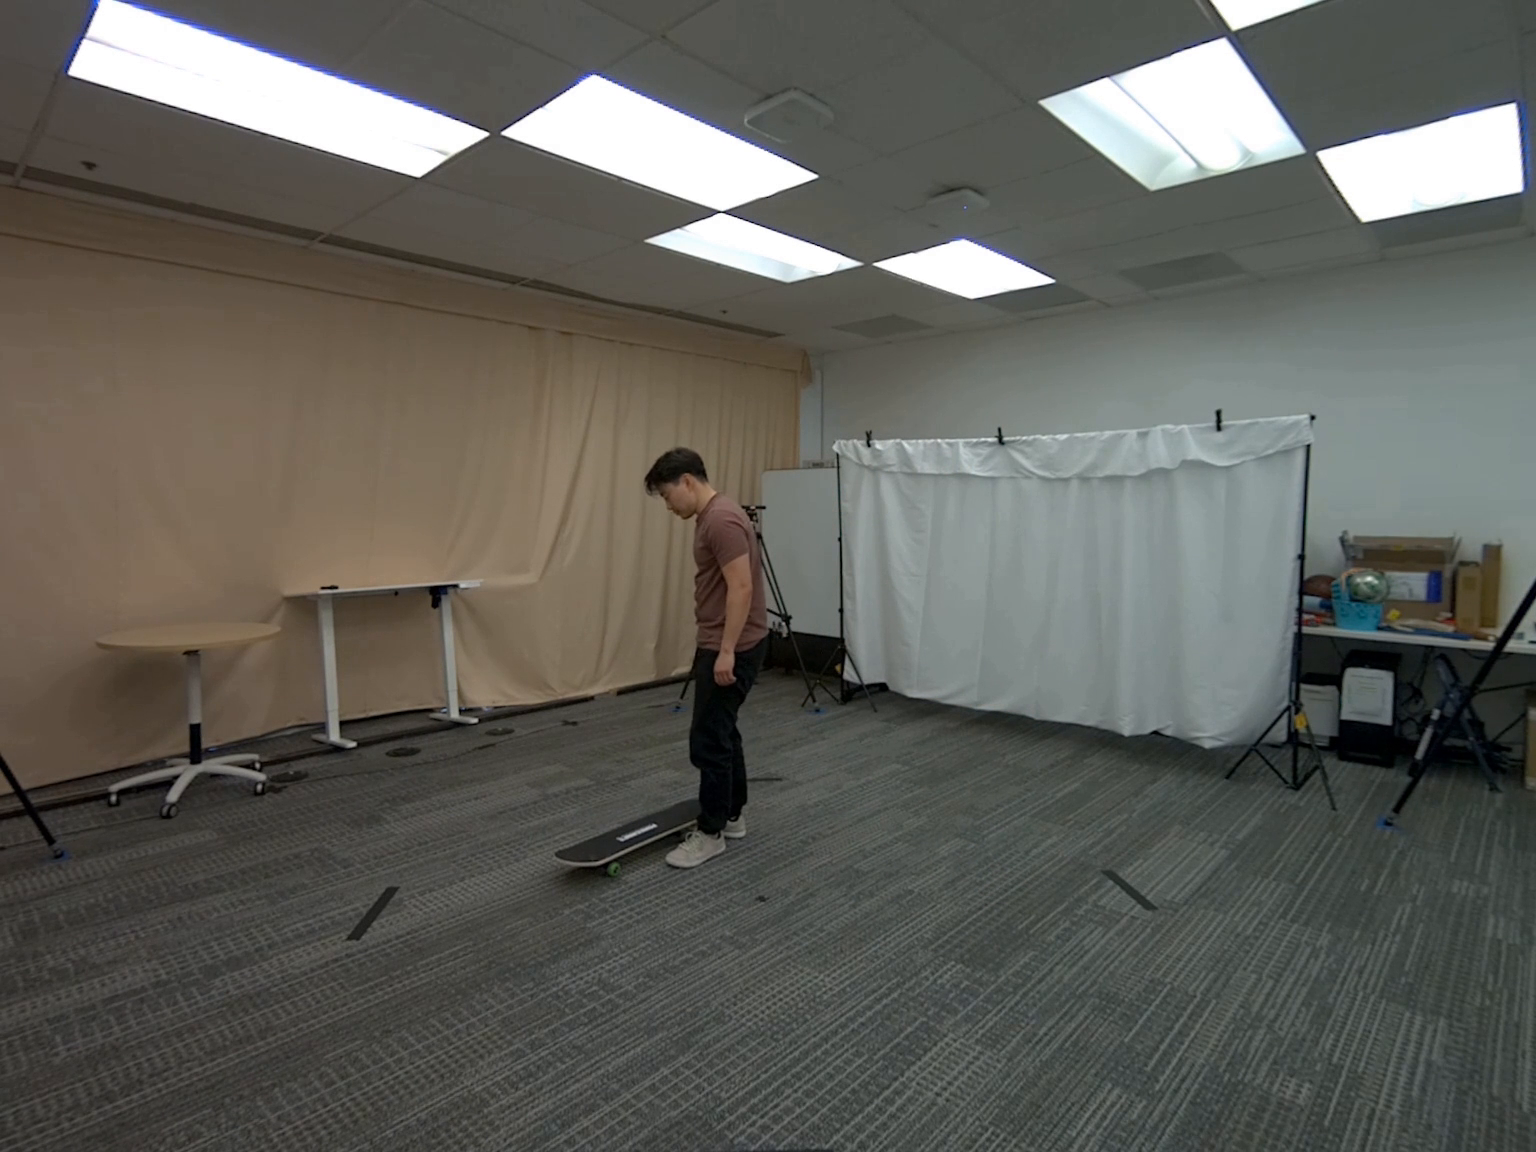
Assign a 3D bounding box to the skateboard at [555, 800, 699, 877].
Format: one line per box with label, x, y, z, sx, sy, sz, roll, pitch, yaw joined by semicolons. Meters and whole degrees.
skateboard;-0.530;1.063;3.377;0.200;0.110;0.762;3;6;38
